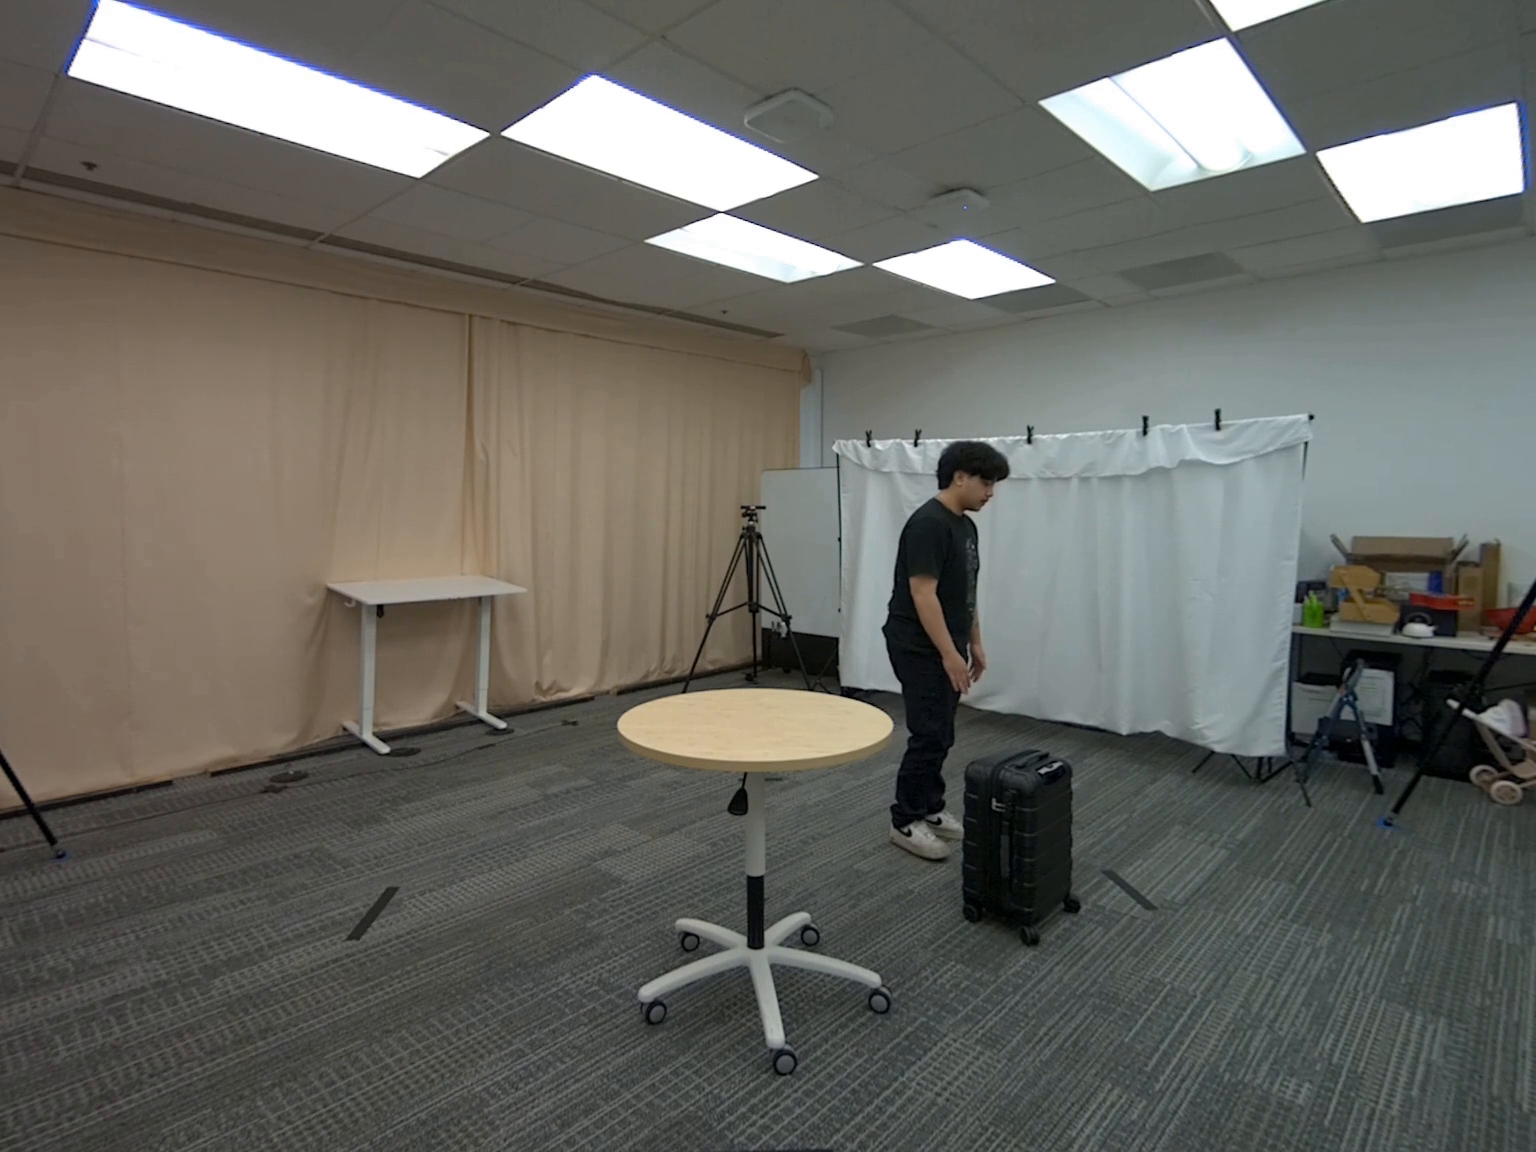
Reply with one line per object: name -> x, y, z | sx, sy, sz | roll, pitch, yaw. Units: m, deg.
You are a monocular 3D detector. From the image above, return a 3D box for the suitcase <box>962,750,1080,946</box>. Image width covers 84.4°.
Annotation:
suitcase -> 0.853, 0.876, 2.860 | 0.256, 0.549, 0.364 | 1, 3, 43
